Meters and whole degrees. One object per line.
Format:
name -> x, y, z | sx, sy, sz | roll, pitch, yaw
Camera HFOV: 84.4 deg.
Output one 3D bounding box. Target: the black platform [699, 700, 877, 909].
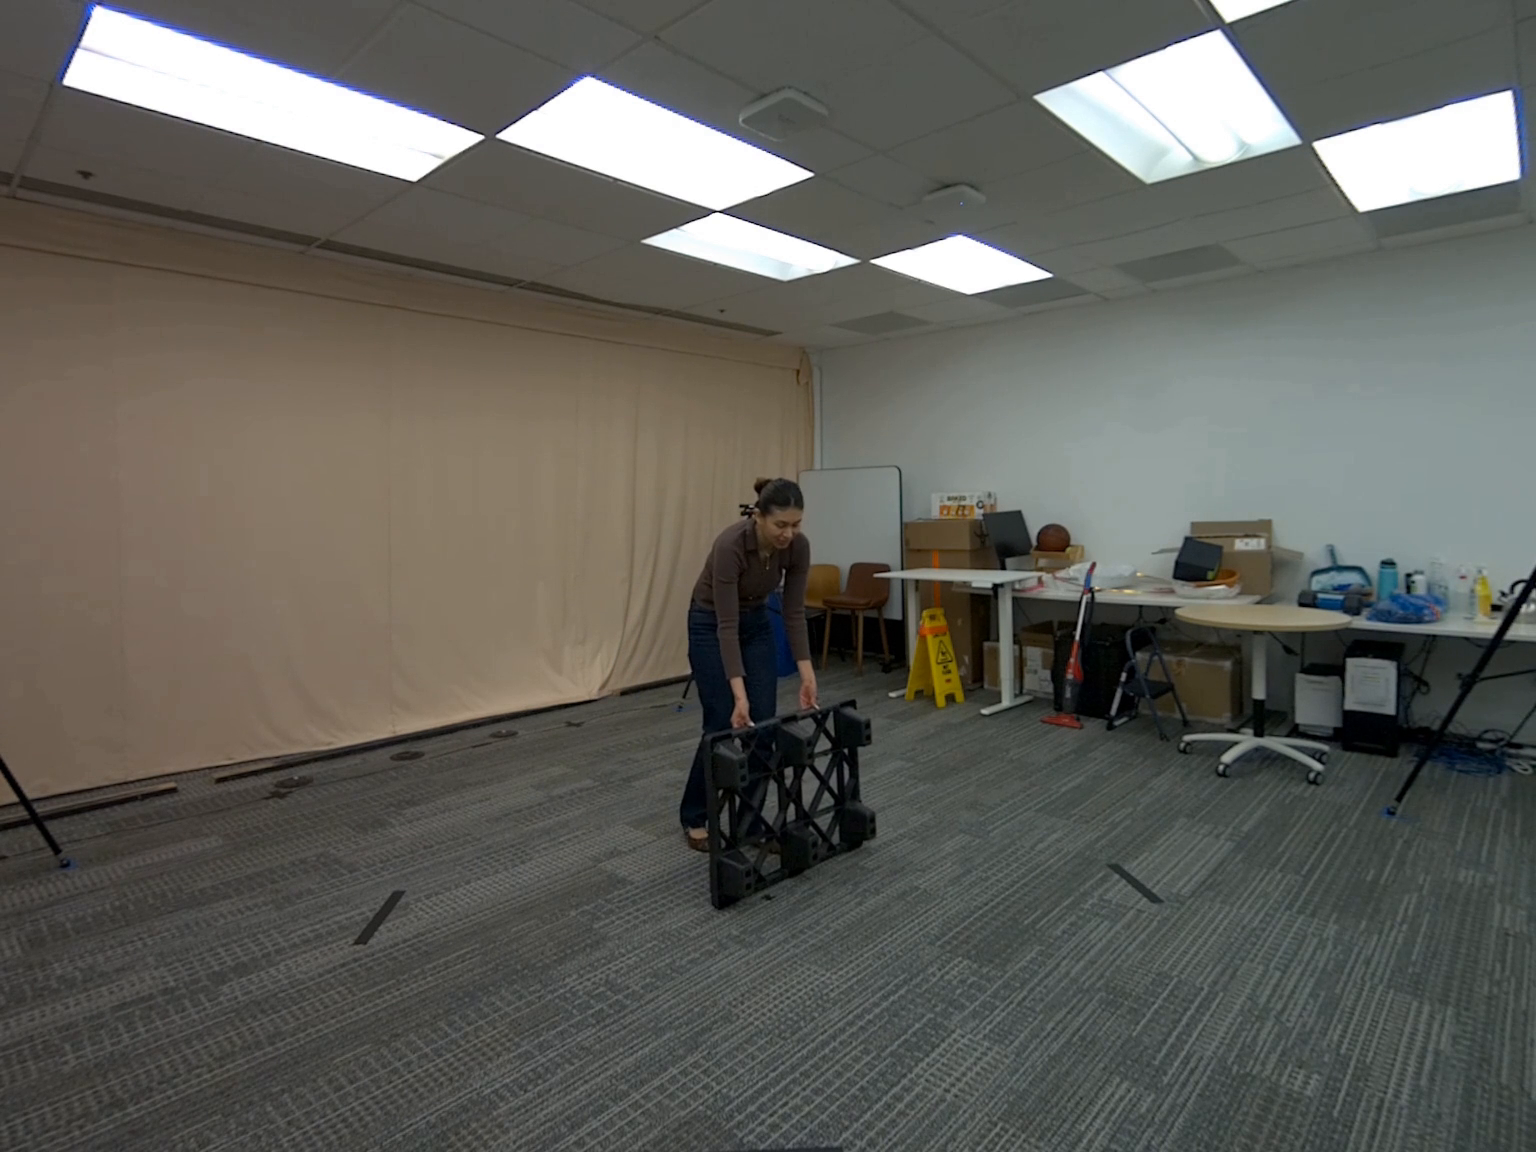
black platform -> 0.114, 0.821, 3.125 | 0.781, 0.605, 0.148 | -6, 2, -43
